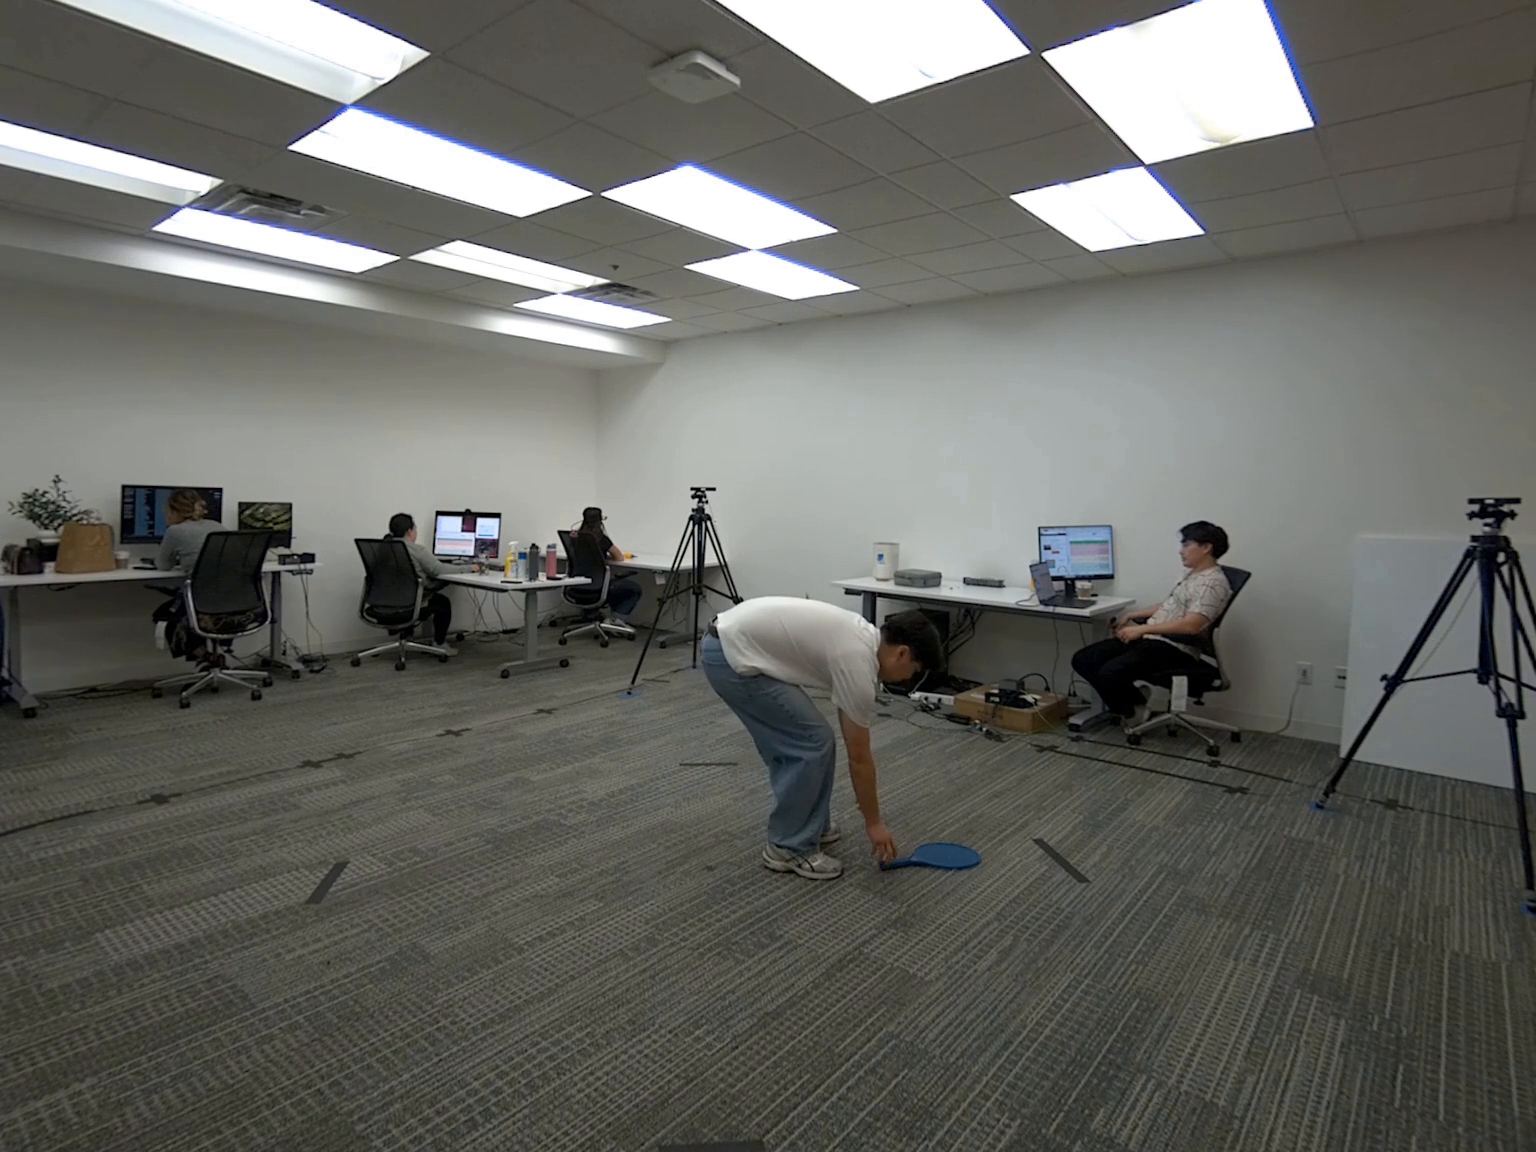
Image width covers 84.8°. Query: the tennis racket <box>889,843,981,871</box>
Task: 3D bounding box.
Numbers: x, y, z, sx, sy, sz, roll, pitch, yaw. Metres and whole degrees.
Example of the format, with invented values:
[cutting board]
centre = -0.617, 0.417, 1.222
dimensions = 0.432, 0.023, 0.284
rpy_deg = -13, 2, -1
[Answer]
[tennis racket]
centre = 0.604, 1.061, 3.222
dimensions = 0.423, 0.031, 0.219
rpy_deg = 0, 6, -24
